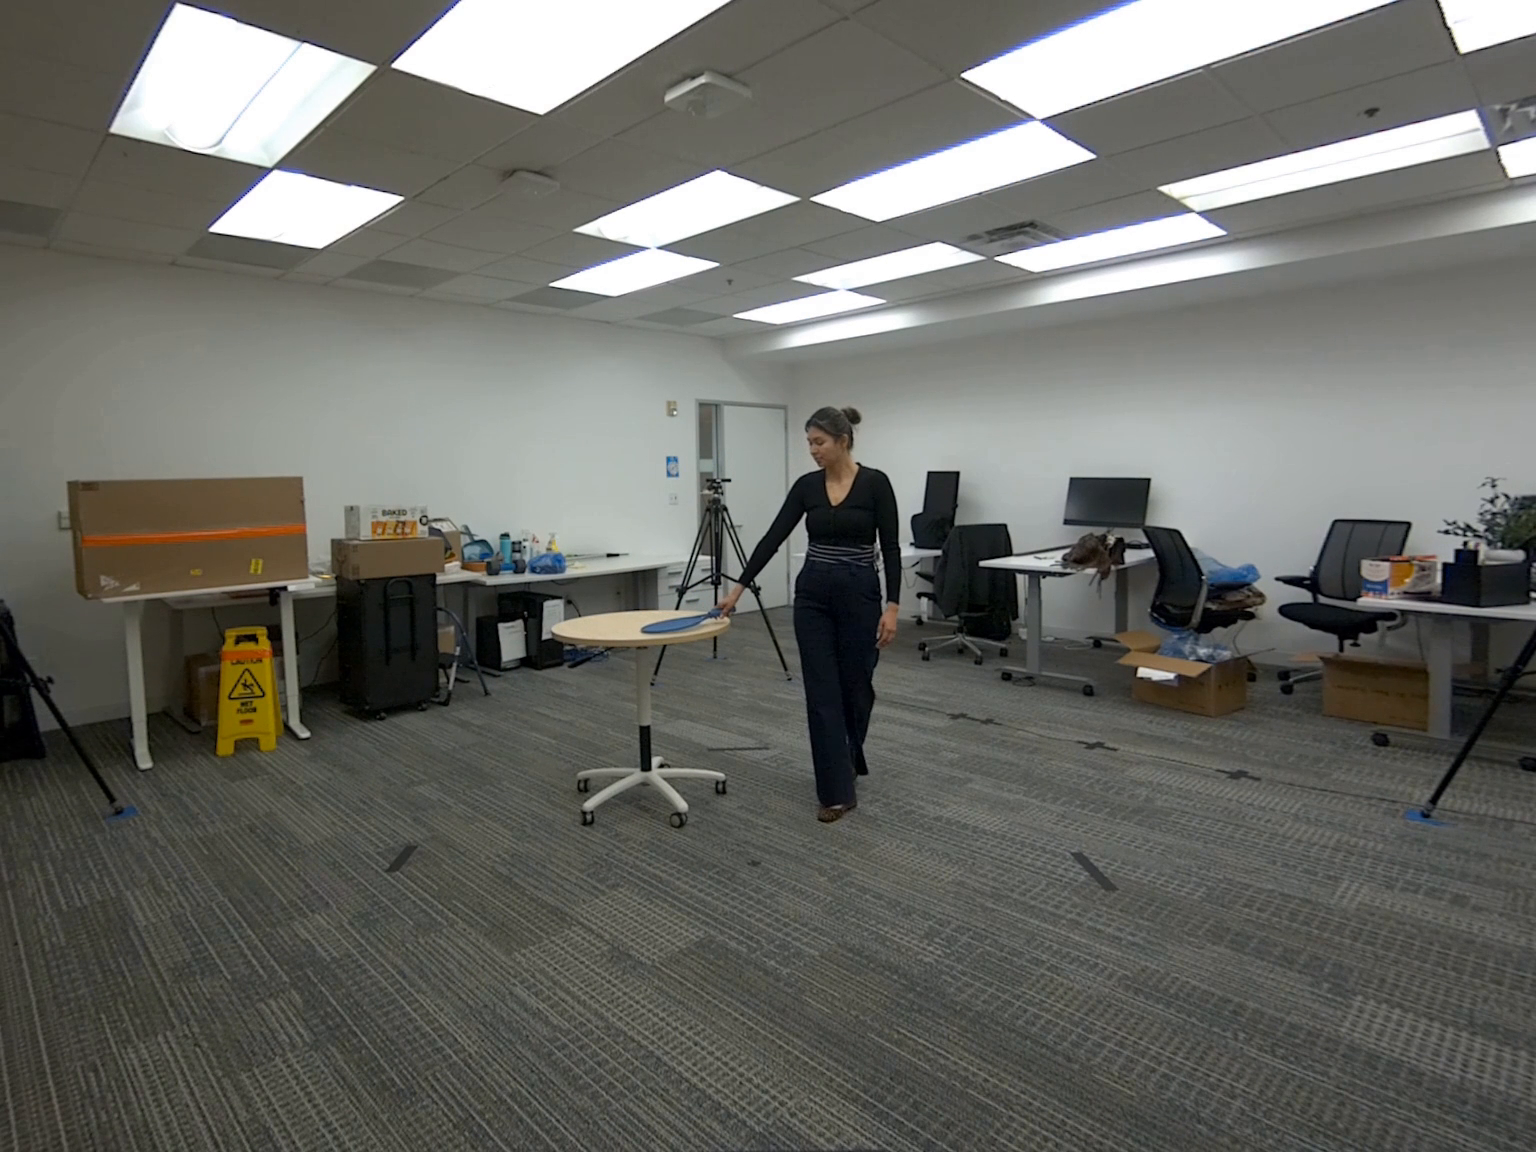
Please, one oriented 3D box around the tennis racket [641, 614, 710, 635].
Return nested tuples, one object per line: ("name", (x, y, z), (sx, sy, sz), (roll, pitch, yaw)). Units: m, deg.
("tennis racket", (-0.329, 0.188, 3.551), (0.424, 0.031, 0.220), (-11, 10, -33))
